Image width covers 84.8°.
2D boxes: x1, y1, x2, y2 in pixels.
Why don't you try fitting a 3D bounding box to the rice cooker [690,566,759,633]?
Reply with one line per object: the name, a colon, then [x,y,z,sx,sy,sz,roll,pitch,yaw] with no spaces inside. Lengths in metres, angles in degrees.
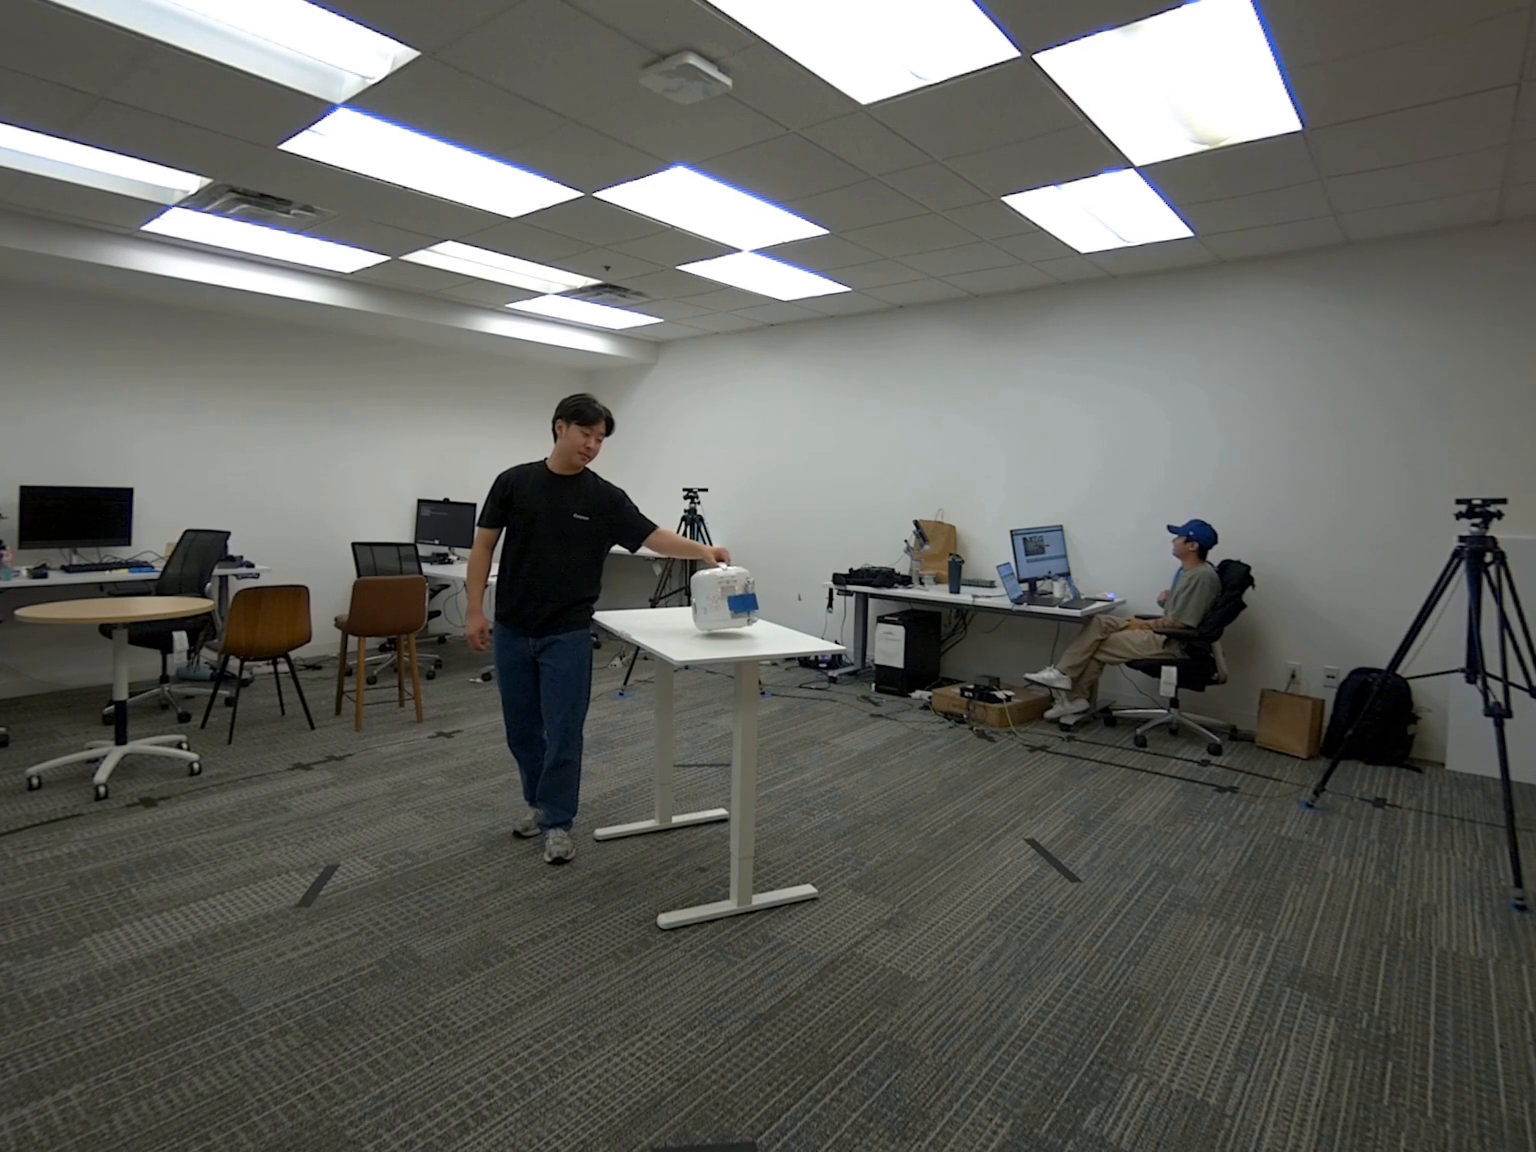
rice cooker: [-0.172,0.065,2.956,0.215,0.234,0.222,-4,-5,-13]
